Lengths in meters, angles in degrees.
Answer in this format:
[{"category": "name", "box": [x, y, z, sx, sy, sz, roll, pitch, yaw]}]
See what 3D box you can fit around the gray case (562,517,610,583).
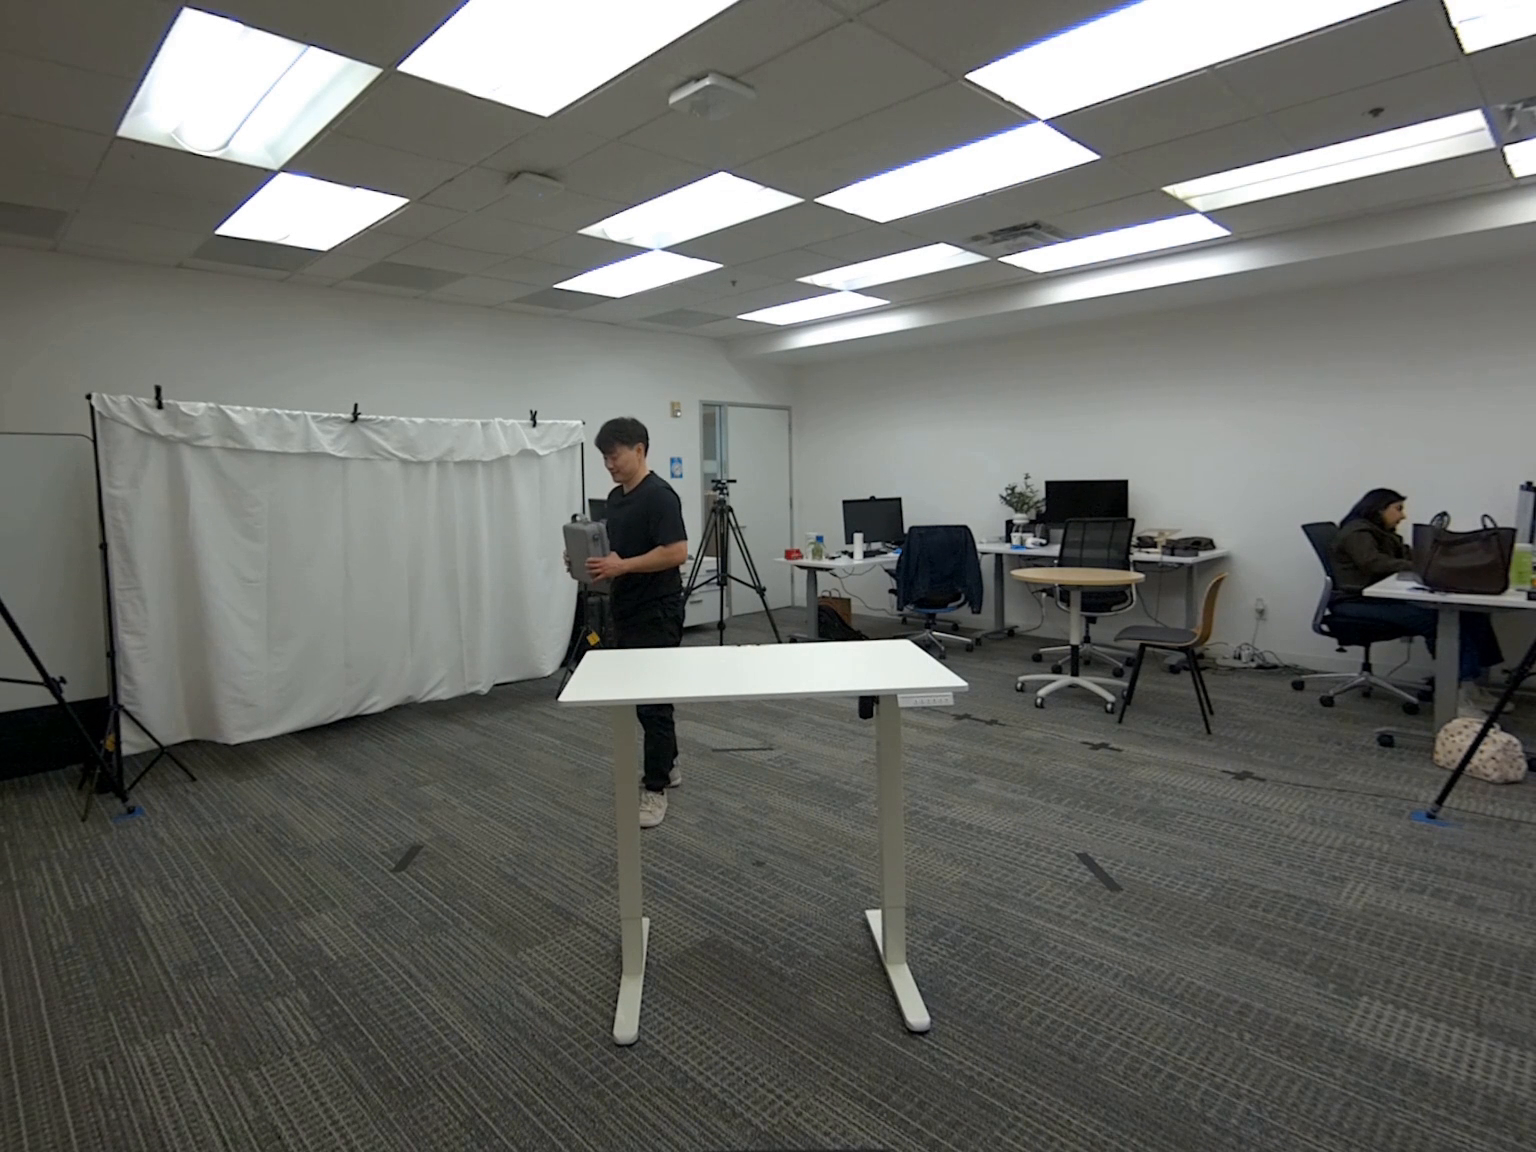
[{"category": "gray case", "box": [-0.763, -0.104, 3.593, 0.102, 0.258, 0.265, -15, 13, -33]}]
